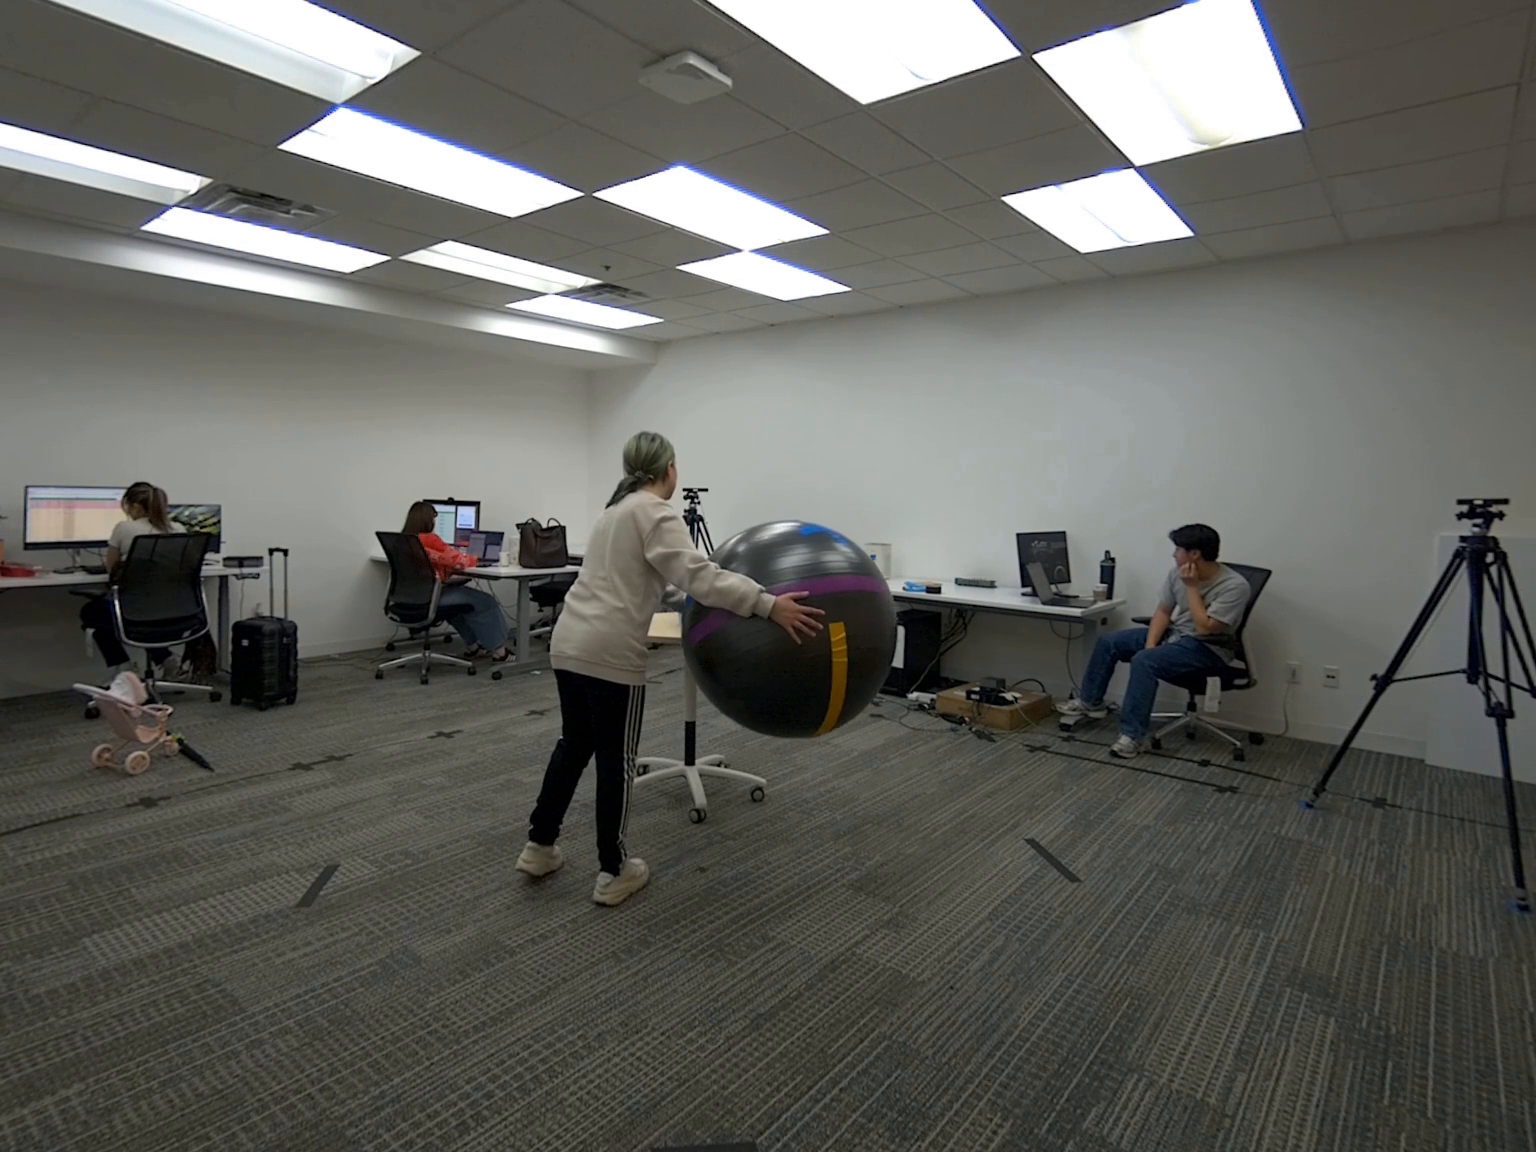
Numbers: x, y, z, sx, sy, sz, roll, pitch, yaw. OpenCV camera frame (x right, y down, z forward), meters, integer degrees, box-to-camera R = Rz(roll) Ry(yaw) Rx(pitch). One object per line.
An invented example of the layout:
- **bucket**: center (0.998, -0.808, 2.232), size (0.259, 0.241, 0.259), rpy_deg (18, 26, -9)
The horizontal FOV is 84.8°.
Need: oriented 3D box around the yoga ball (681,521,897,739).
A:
- **yoga ball**: center (0.061, 0.187, 3.000), size (0.757, 0.756, 0.762), rpy_deg (1, 4, -2)
